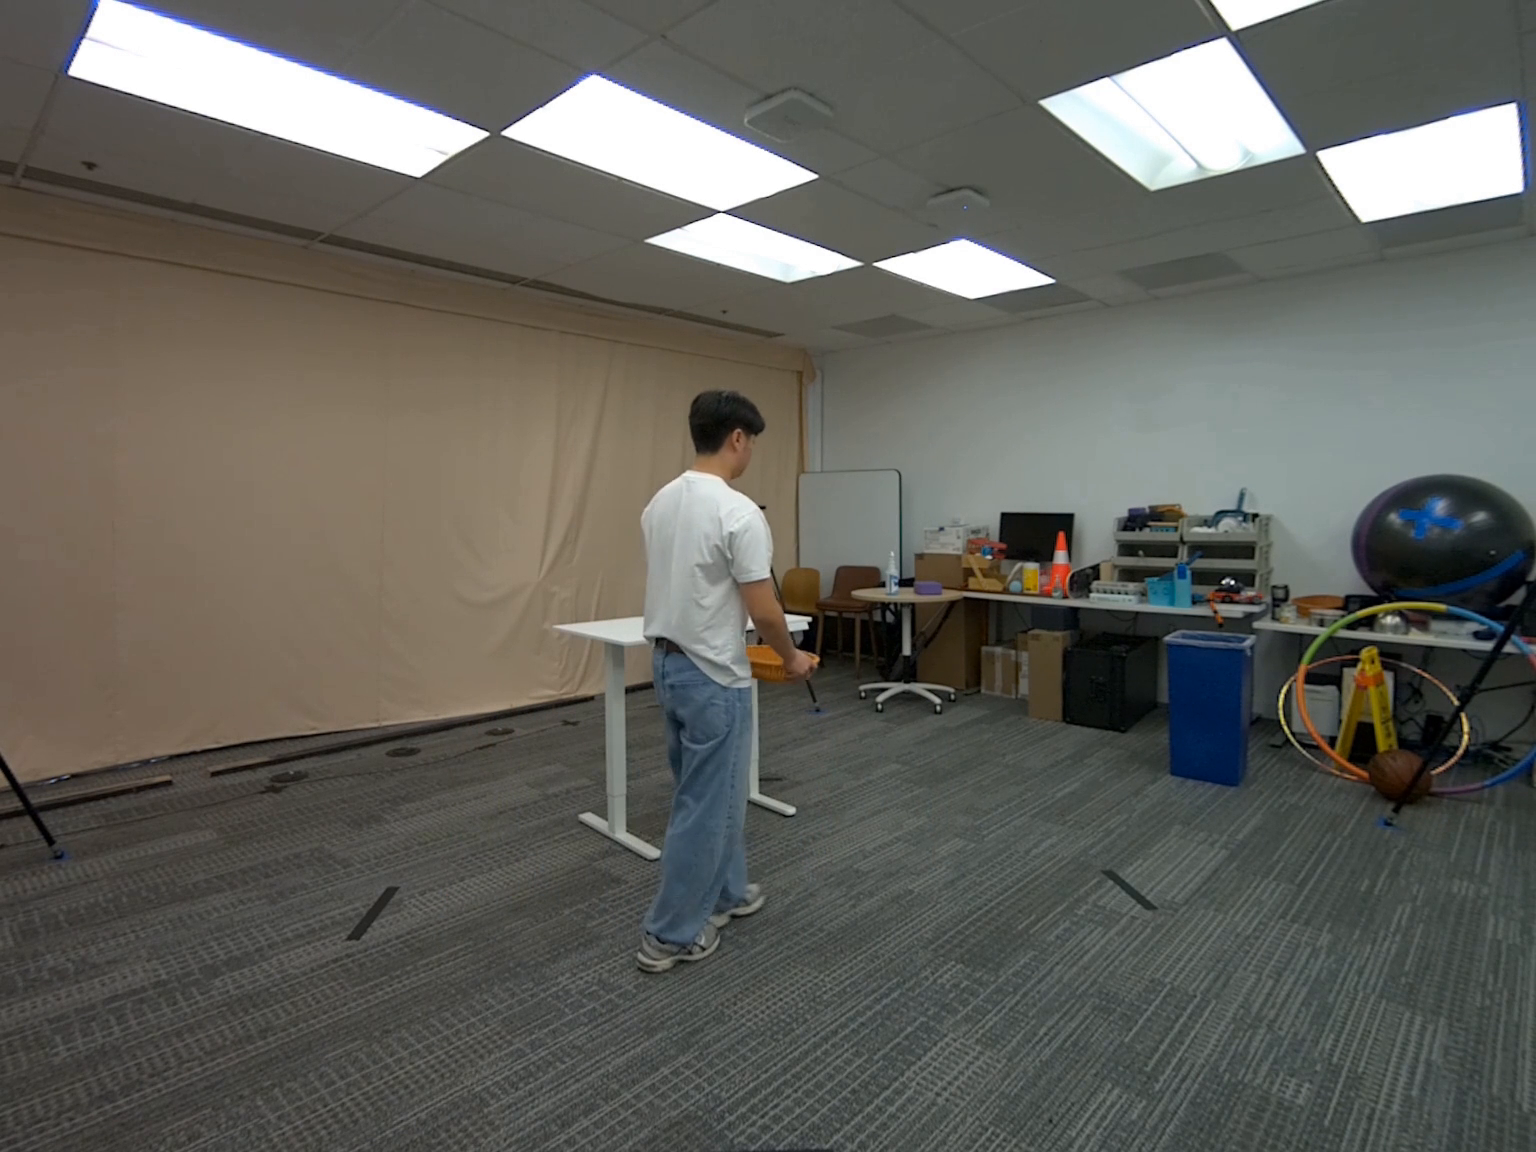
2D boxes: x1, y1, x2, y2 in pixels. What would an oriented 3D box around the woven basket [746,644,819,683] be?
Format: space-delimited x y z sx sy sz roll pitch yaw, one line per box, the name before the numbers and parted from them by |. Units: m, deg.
woven basket | -0.016 0.299 2.807 0.244 0.073 0.362 -1 7 -42
